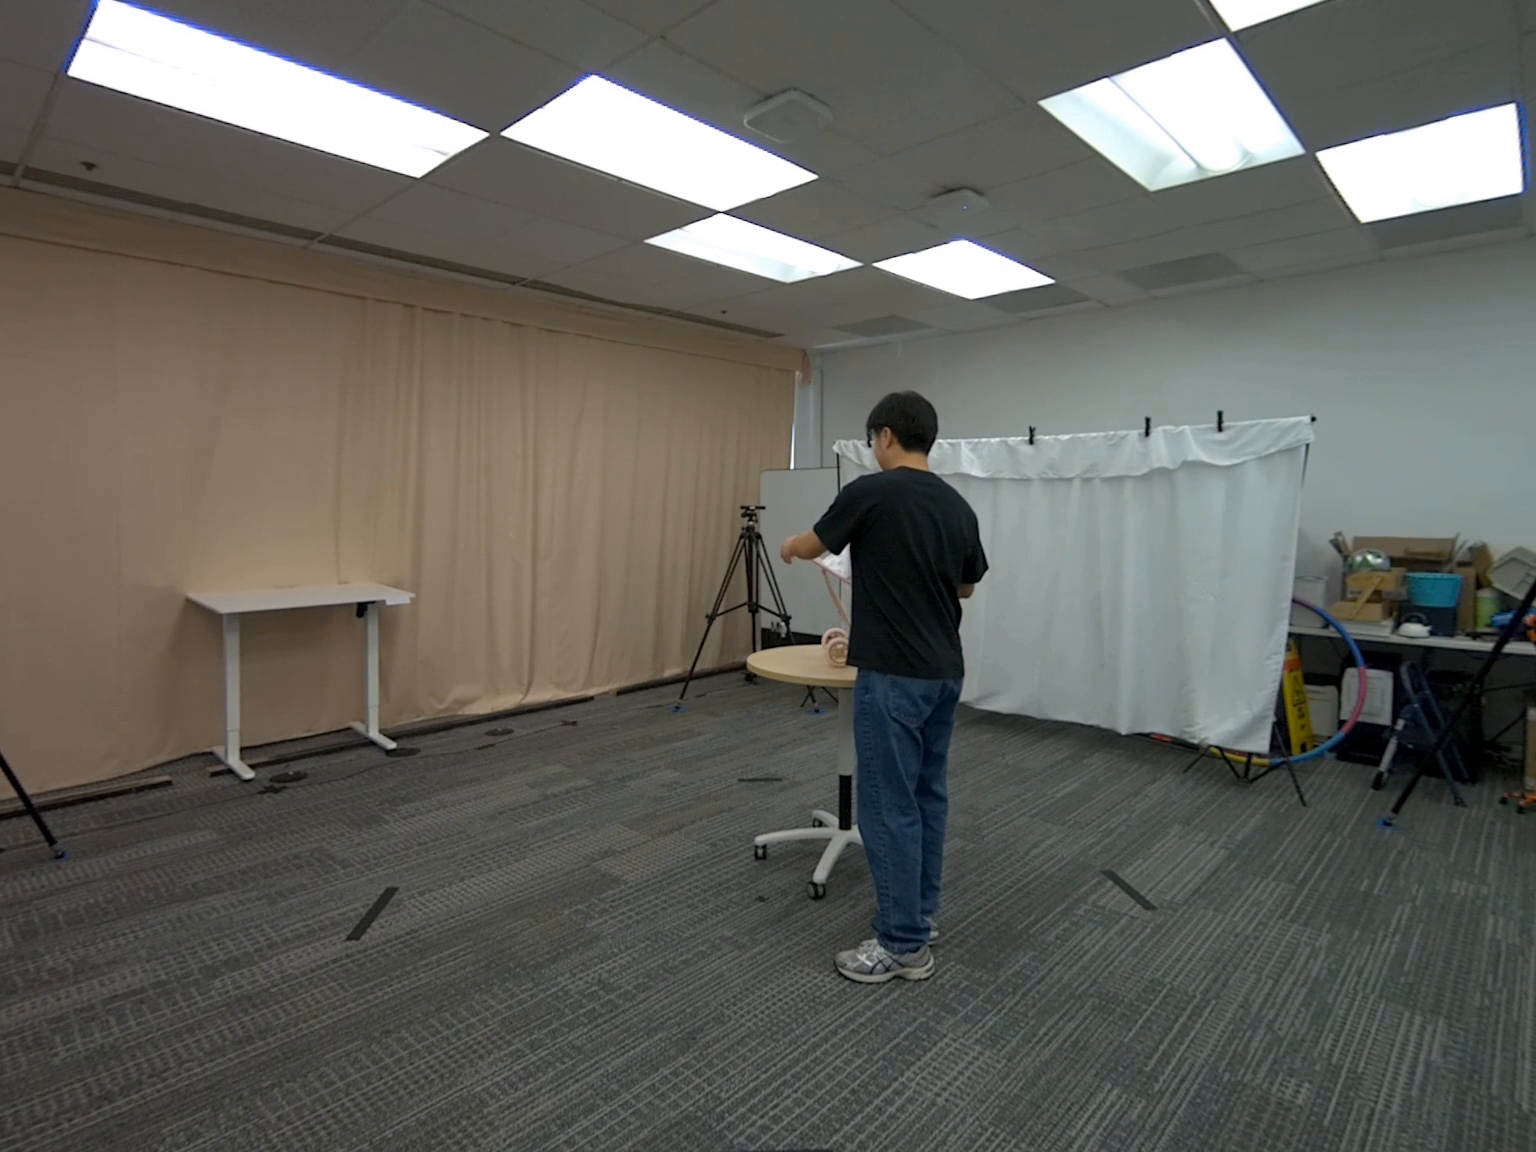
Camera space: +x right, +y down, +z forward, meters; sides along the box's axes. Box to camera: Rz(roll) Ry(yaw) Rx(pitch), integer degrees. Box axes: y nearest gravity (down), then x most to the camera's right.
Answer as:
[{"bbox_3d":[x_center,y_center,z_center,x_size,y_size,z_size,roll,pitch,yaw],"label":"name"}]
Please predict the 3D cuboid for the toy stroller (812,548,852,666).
[{"bbox_3d":[0.339,0.103,3.196,0.344,0.534,0.279,-13,1,8],"label":"toy stroller"}]
